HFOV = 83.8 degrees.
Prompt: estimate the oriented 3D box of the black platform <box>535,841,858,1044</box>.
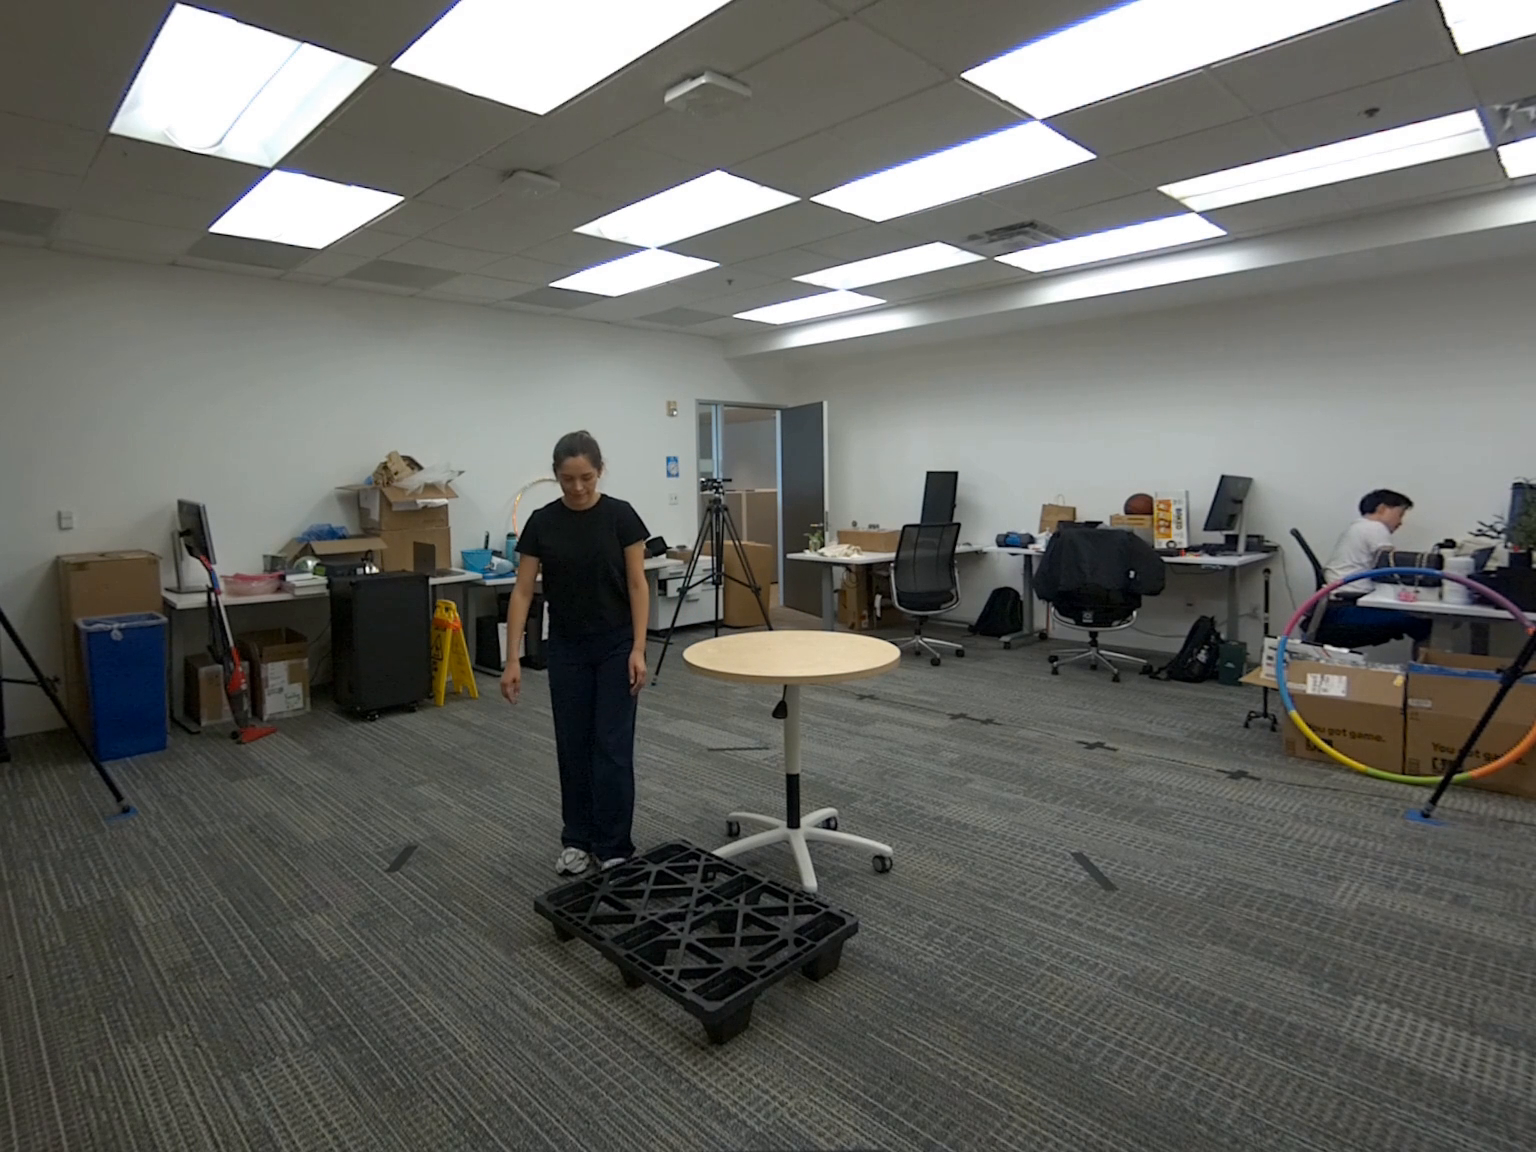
[{"bbox_3d":[-0.222,1.048,2.546,0.831,0.142,0.589,6,9,44],"label":"black platform"}]
